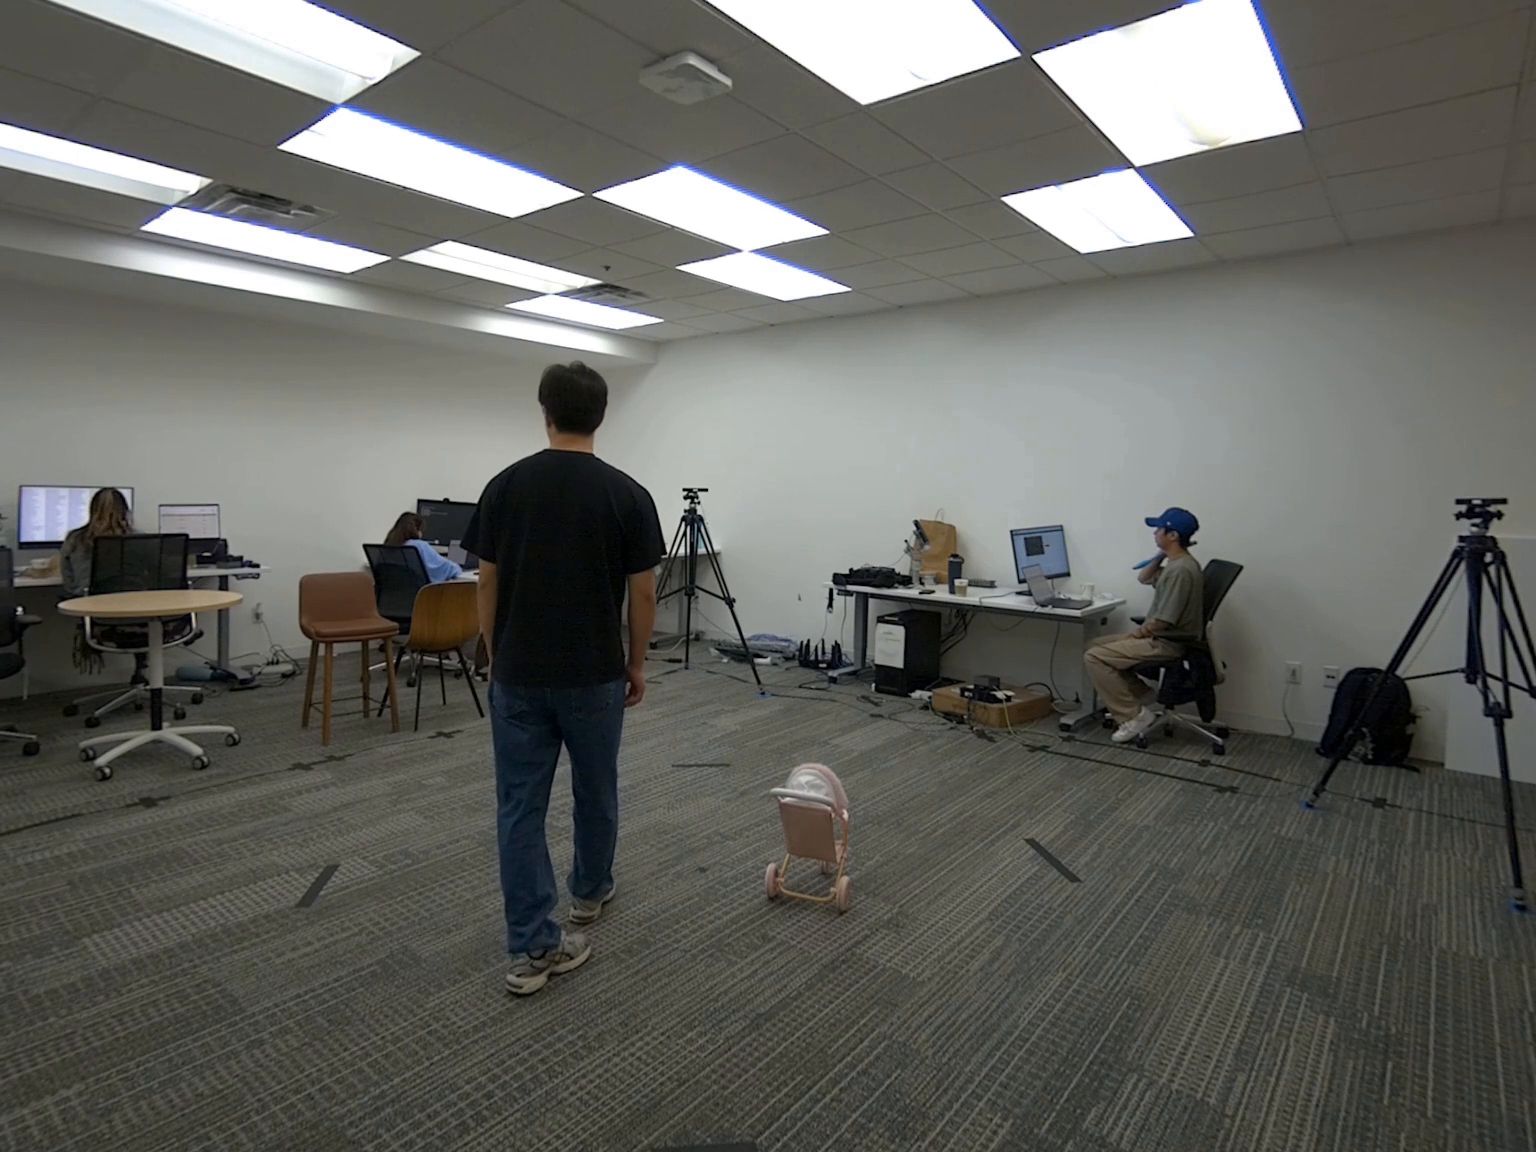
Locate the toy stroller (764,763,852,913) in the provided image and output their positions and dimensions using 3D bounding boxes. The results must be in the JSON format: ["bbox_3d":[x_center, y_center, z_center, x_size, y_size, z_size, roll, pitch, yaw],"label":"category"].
[{"bbox_3d":[0.151,0.871,2.921,0.288,0.525,0.339,4,20,22],"label":"toy stroller"}]
